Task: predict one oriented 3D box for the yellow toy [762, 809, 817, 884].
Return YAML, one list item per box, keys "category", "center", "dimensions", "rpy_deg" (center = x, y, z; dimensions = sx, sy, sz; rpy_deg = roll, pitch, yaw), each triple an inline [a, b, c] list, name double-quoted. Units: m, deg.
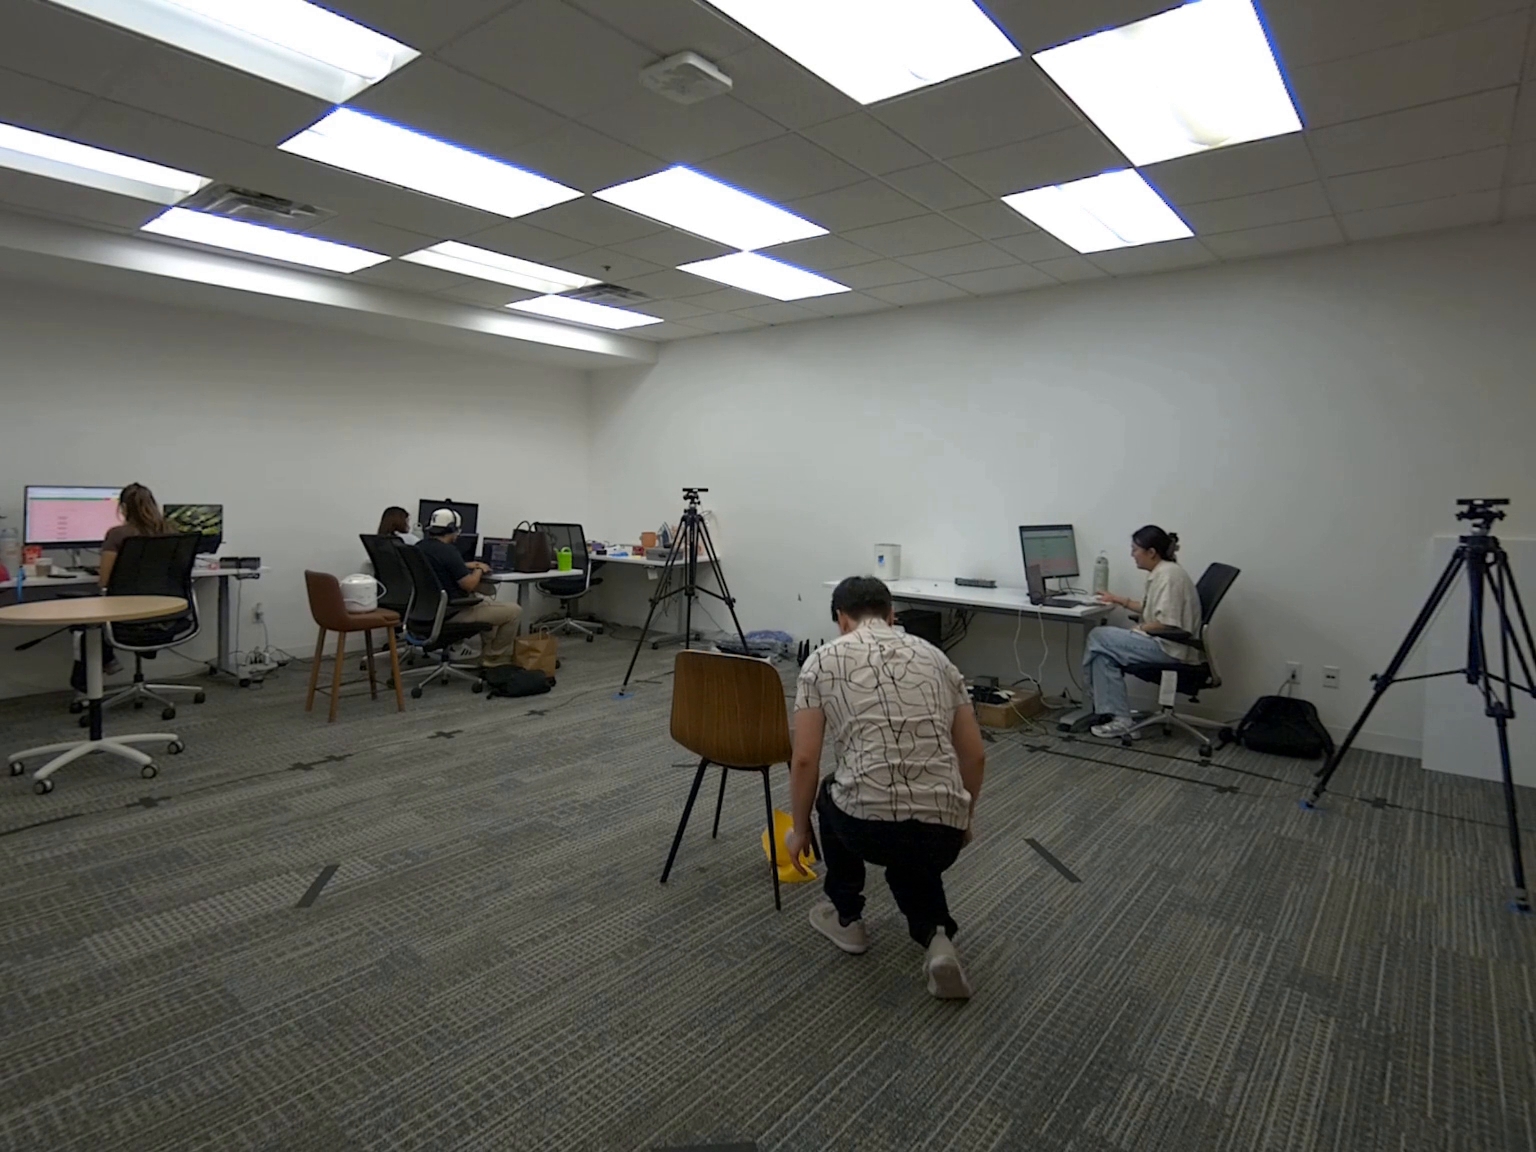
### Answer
- category: "yellow toy"
  center: [0.074, 0.959, 3.123]
  dimensions: [0.192, 0.230, 0.207]
  rpy_deg: [0, 4, -7]
